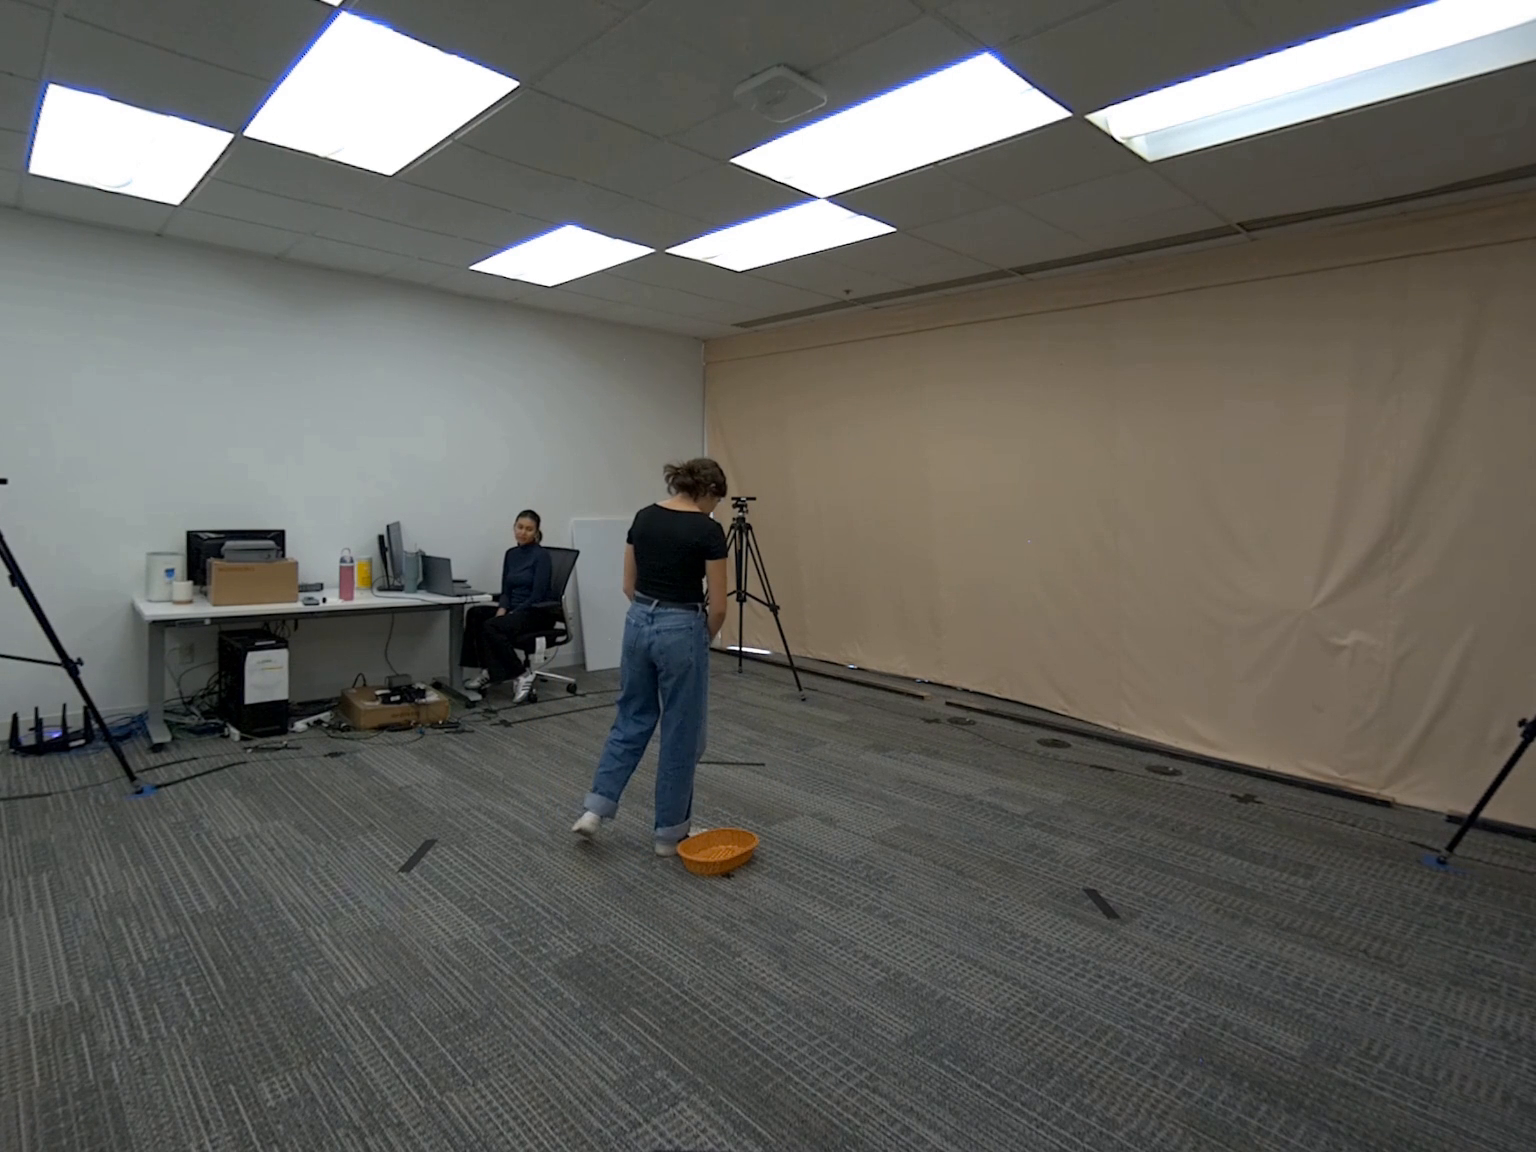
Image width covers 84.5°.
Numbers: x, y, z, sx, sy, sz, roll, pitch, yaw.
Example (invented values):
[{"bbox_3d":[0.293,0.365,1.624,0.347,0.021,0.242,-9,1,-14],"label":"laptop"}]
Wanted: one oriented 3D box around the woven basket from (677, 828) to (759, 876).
[{"bbox_3d":[-0.198,1.054,3.222,0.259,0.073,0.343,4,6,44],"label":"woven basket"}]
